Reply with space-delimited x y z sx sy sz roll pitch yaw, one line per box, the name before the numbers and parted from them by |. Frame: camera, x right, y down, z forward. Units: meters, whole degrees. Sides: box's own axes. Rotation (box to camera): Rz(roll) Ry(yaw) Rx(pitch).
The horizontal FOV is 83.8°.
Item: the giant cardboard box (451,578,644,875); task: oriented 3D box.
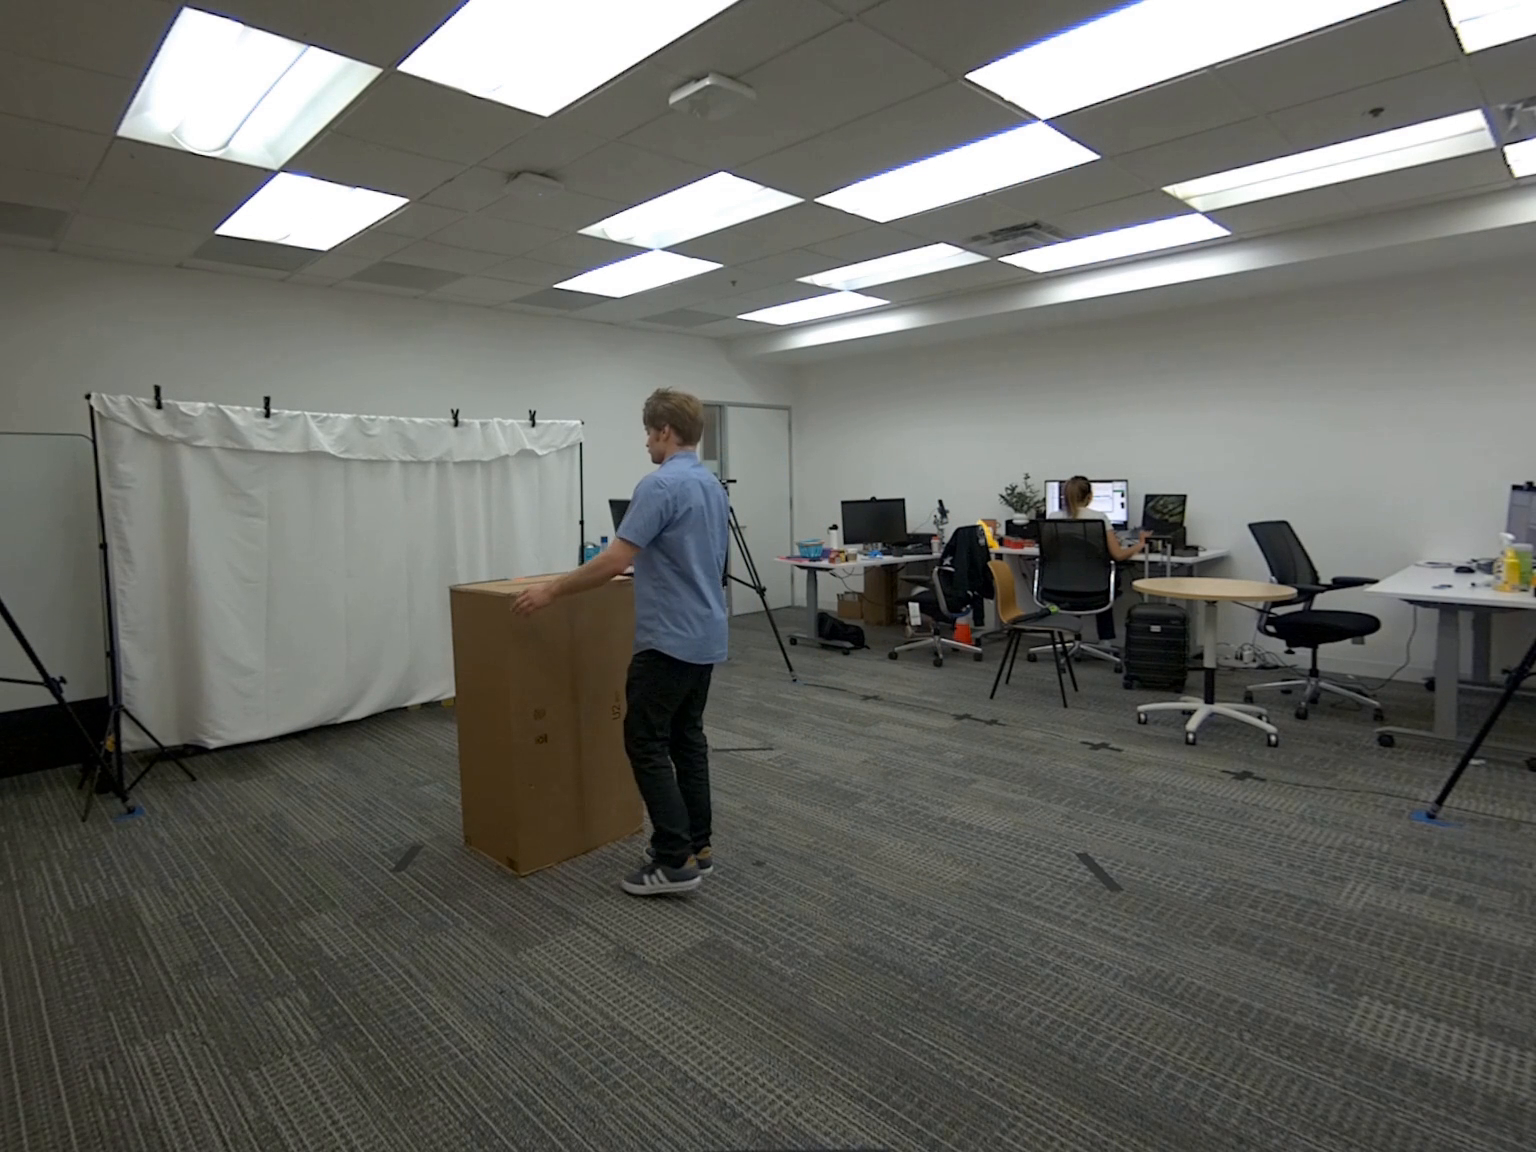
giant cardboard box | -0.865 0.530 3.355 0.439 1.022 0.562 2 6 45
